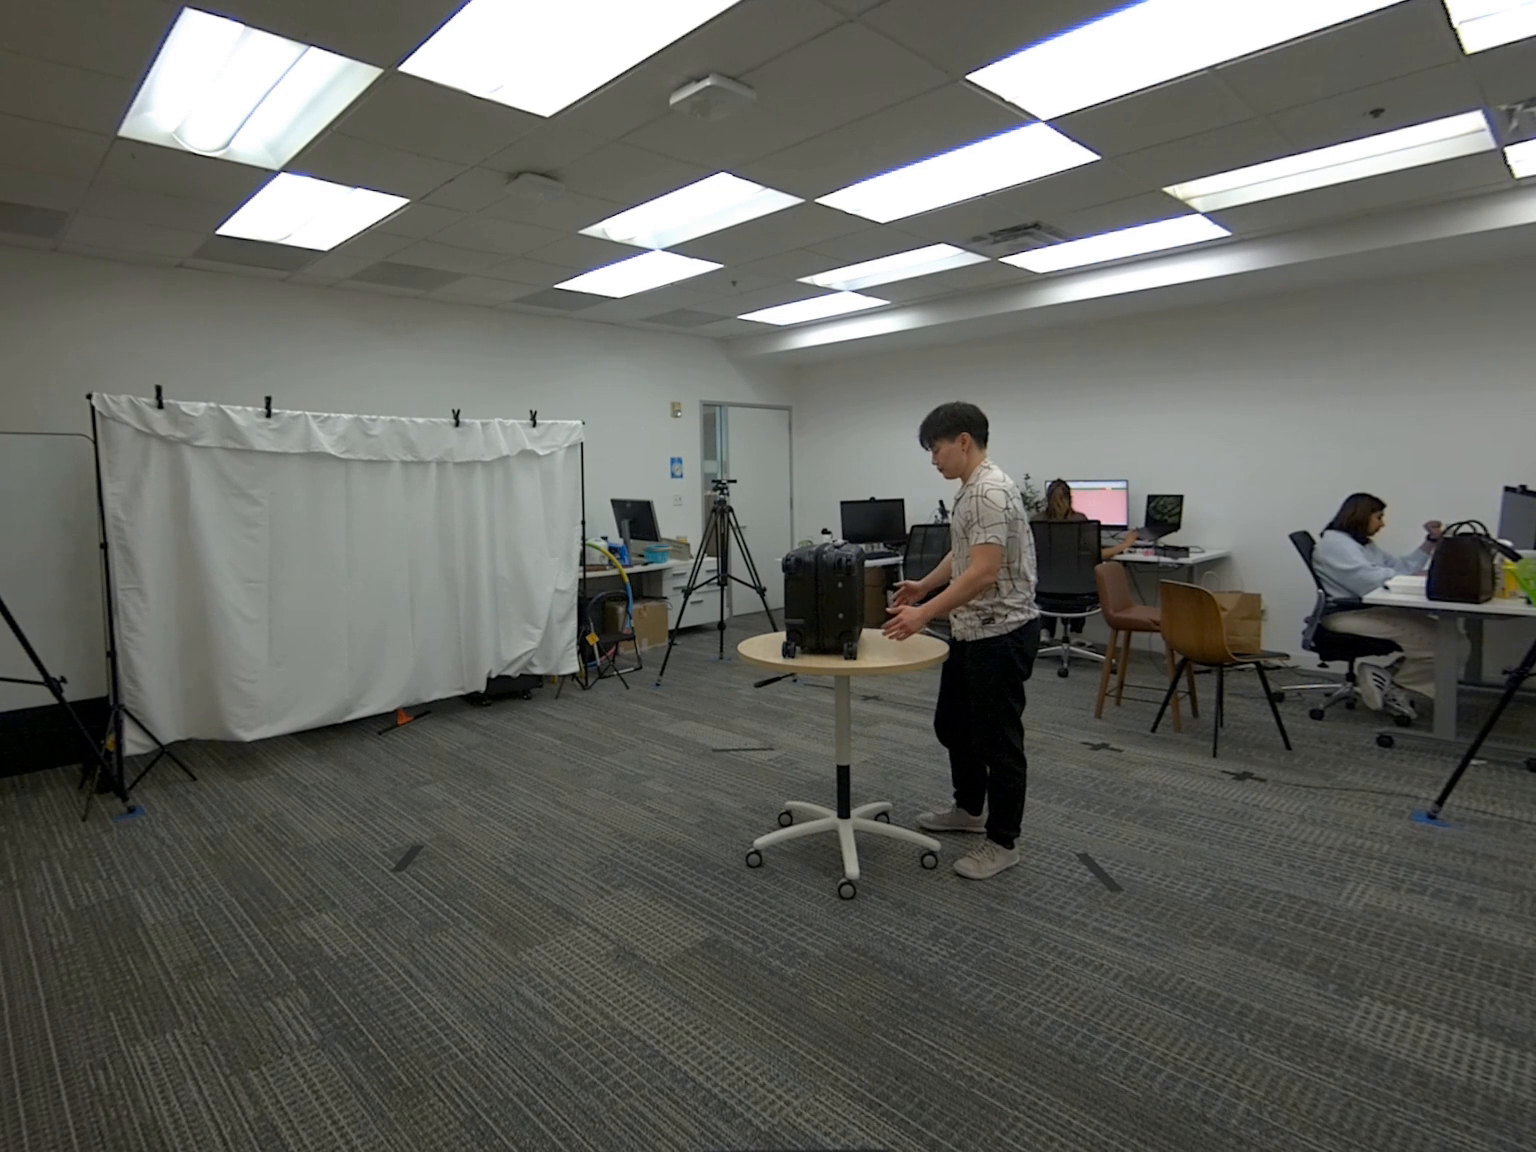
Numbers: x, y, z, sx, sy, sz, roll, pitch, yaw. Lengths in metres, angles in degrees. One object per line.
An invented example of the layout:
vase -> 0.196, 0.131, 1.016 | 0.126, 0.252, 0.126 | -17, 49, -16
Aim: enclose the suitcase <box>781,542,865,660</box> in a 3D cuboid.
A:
suitcase -> 0.223, 0.063, 3.148 | 0.251, 0.374, 0.545 | -1, 5, 11
